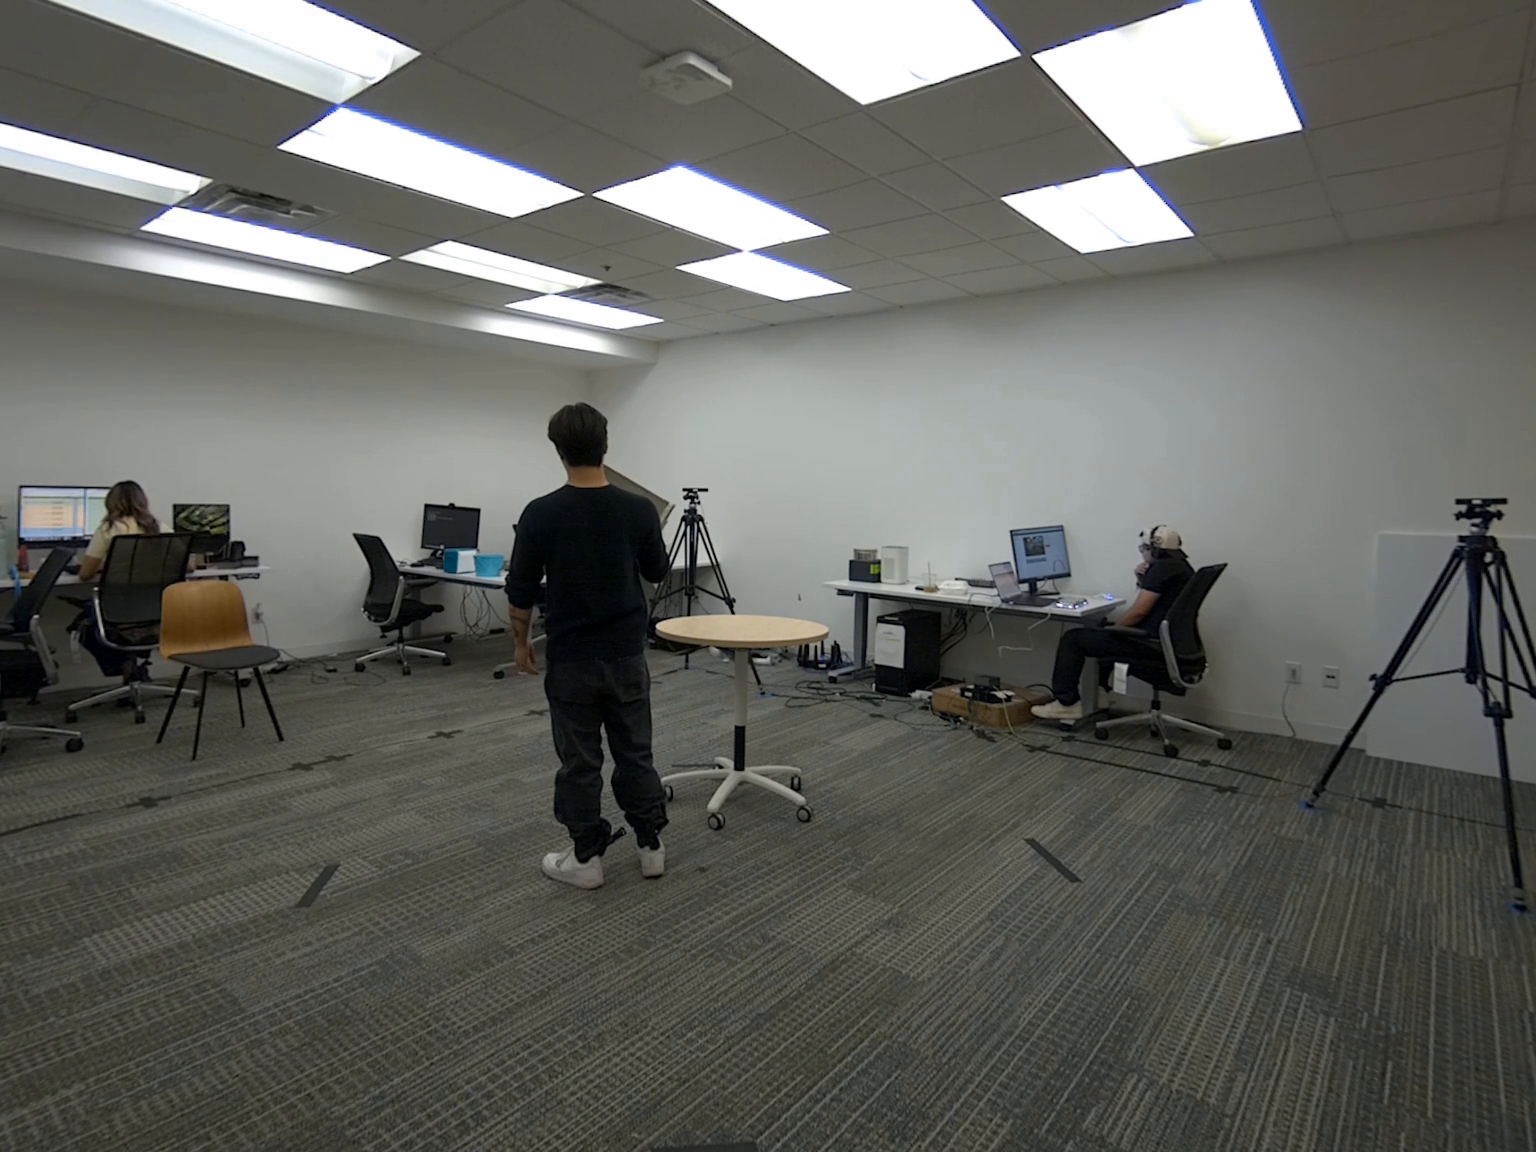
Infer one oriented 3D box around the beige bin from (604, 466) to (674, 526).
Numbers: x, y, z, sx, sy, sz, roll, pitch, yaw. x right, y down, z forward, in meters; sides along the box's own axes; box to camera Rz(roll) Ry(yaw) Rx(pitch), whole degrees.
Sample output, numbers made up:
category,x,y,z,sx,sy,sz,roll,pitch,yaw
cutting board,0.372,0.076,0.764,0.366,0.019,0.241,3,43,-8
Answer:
category,x,y,z,sx,sy,sz,roll,pitch,yaw
beige bin,-0.666,-0.254,3.540,0.424,0.379,0.187,30,-19,2
